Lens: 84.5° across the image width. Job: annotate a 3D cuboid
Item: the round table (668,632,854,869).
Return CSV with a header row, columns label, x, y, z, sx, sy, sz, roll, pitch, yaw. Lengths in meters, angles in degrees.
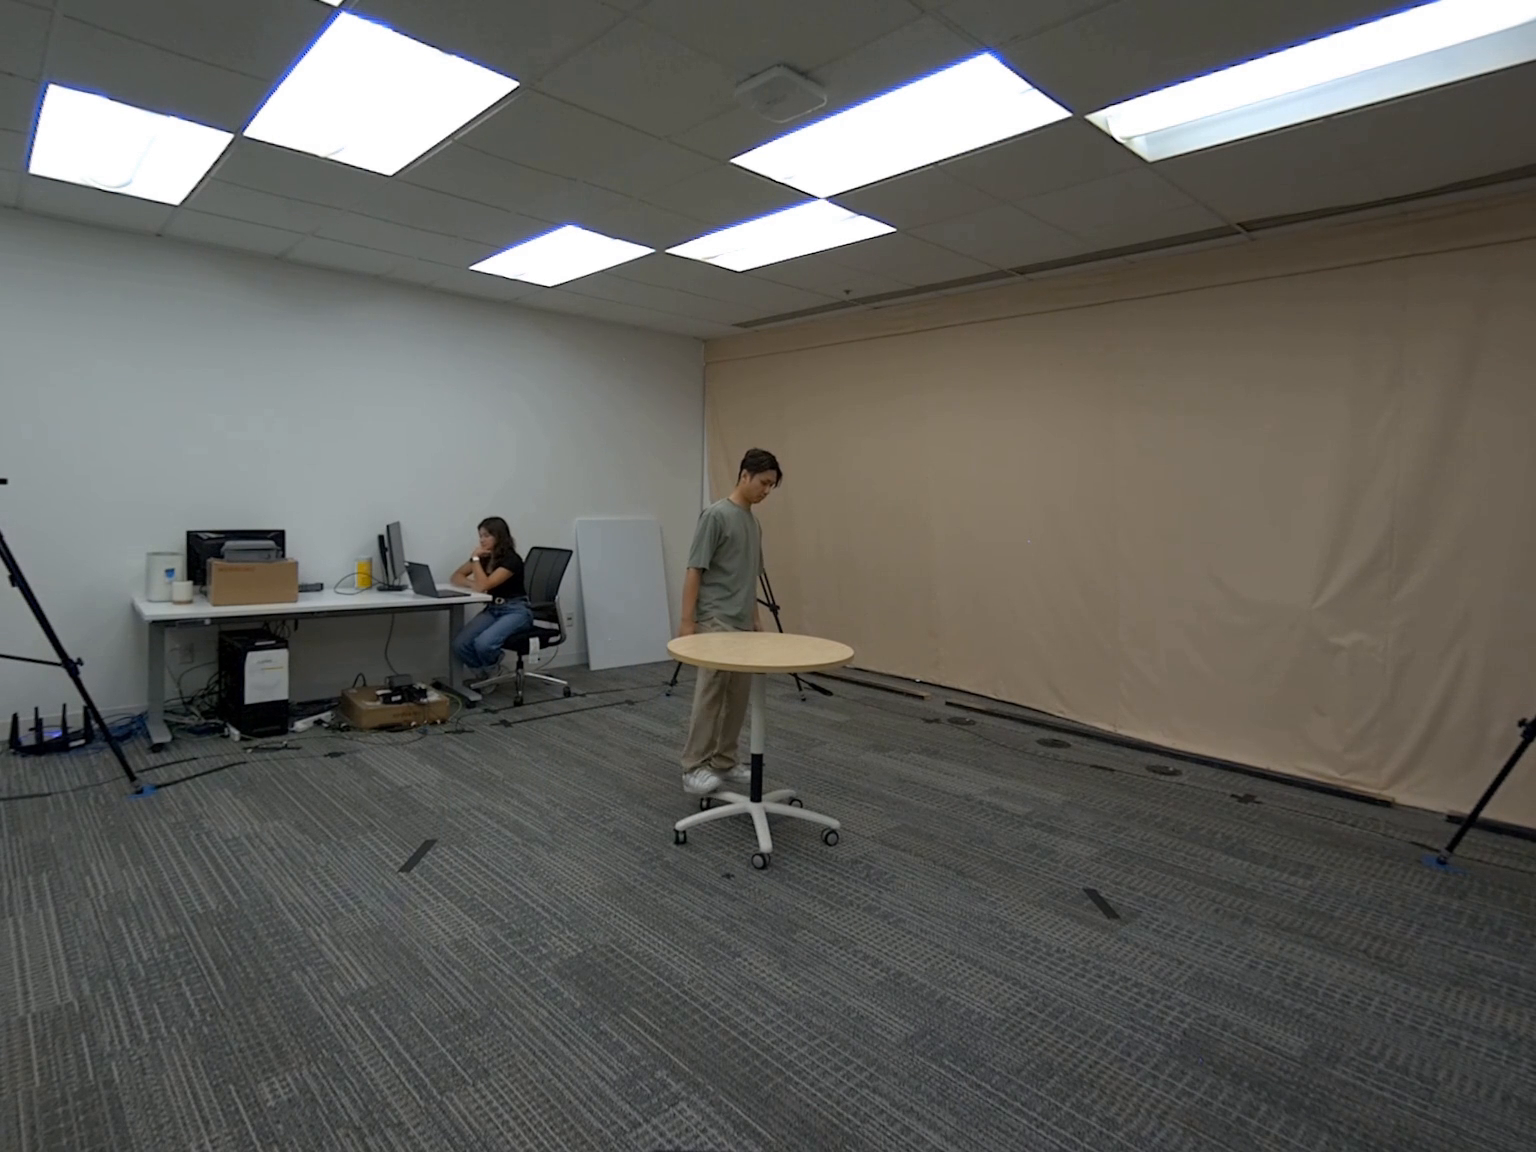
label,x,y,z,sx,sy,sz,roll,pitch,yaw
round table,-0.042,0.684,3.473,0.784,0.784,0.788,1,4,-1
